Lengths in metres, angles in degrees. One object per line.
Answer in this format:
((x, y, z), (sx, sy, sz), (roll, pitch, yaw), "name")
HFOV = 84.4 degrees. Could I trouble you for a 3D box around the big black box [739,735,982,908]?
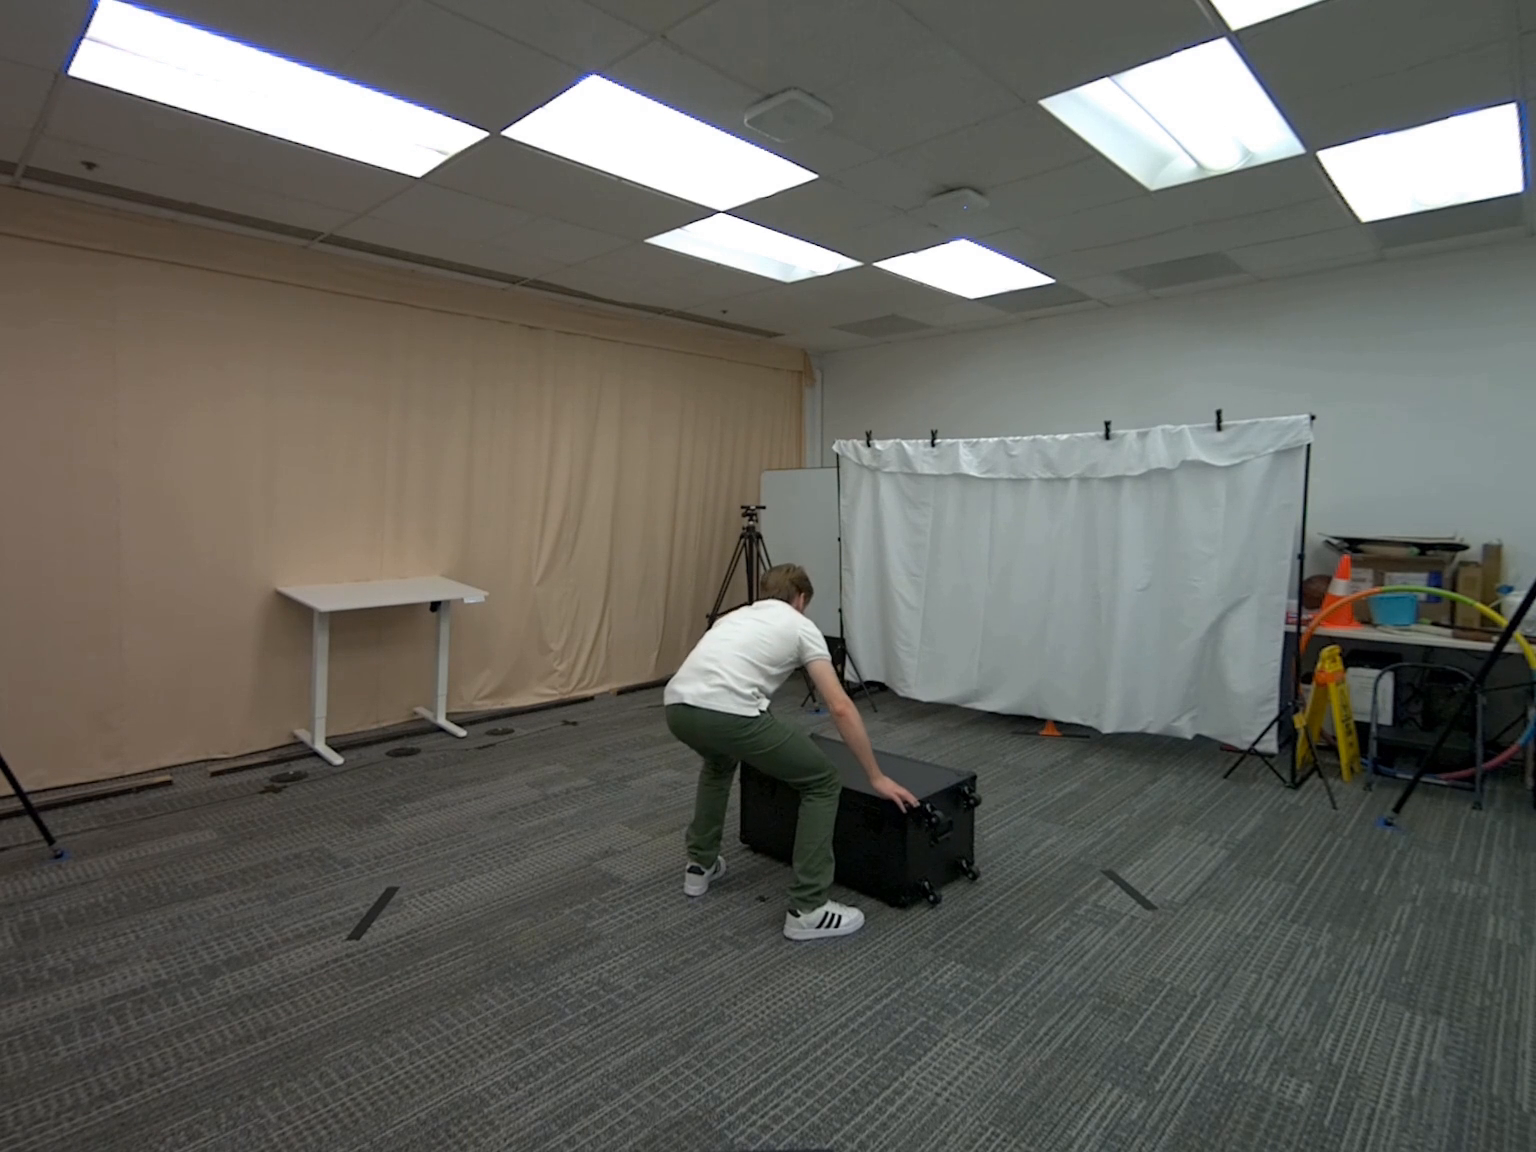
((0.363, 0.923, 3.274), (0.898, 0.384, 0.507), (5, 5, 43), "big black box")
